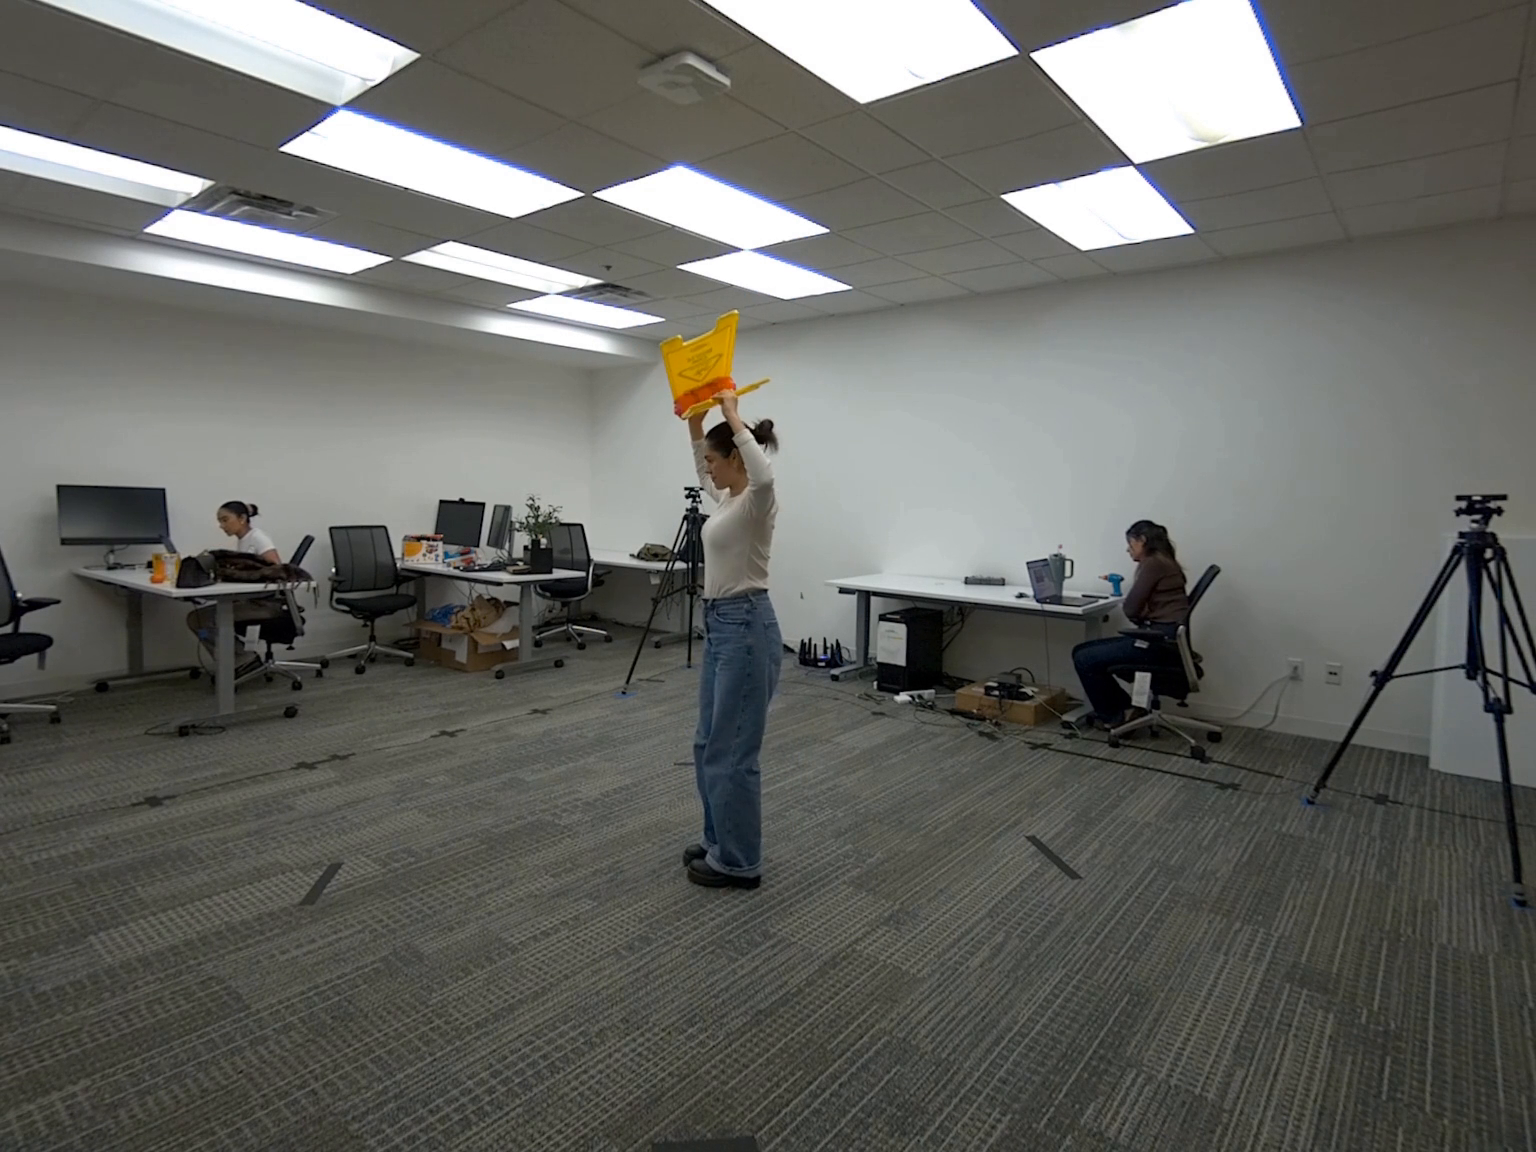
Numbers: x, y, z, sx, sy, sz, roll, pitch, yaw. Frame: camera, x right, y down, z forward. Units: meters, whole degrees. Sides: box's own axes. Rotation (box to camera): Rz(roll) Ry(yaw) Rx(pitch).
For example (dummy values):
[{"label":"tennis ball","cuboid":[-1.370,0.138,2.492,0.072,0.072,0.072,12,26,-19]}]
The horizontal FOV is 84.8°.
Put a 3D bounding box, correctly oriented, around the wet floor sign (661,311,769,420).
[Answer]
[{"label":"wet floor sign","cuboid":[-0.223,-0.682,3.051,0.281,0.289,0.649,-26,3,-8]}]
